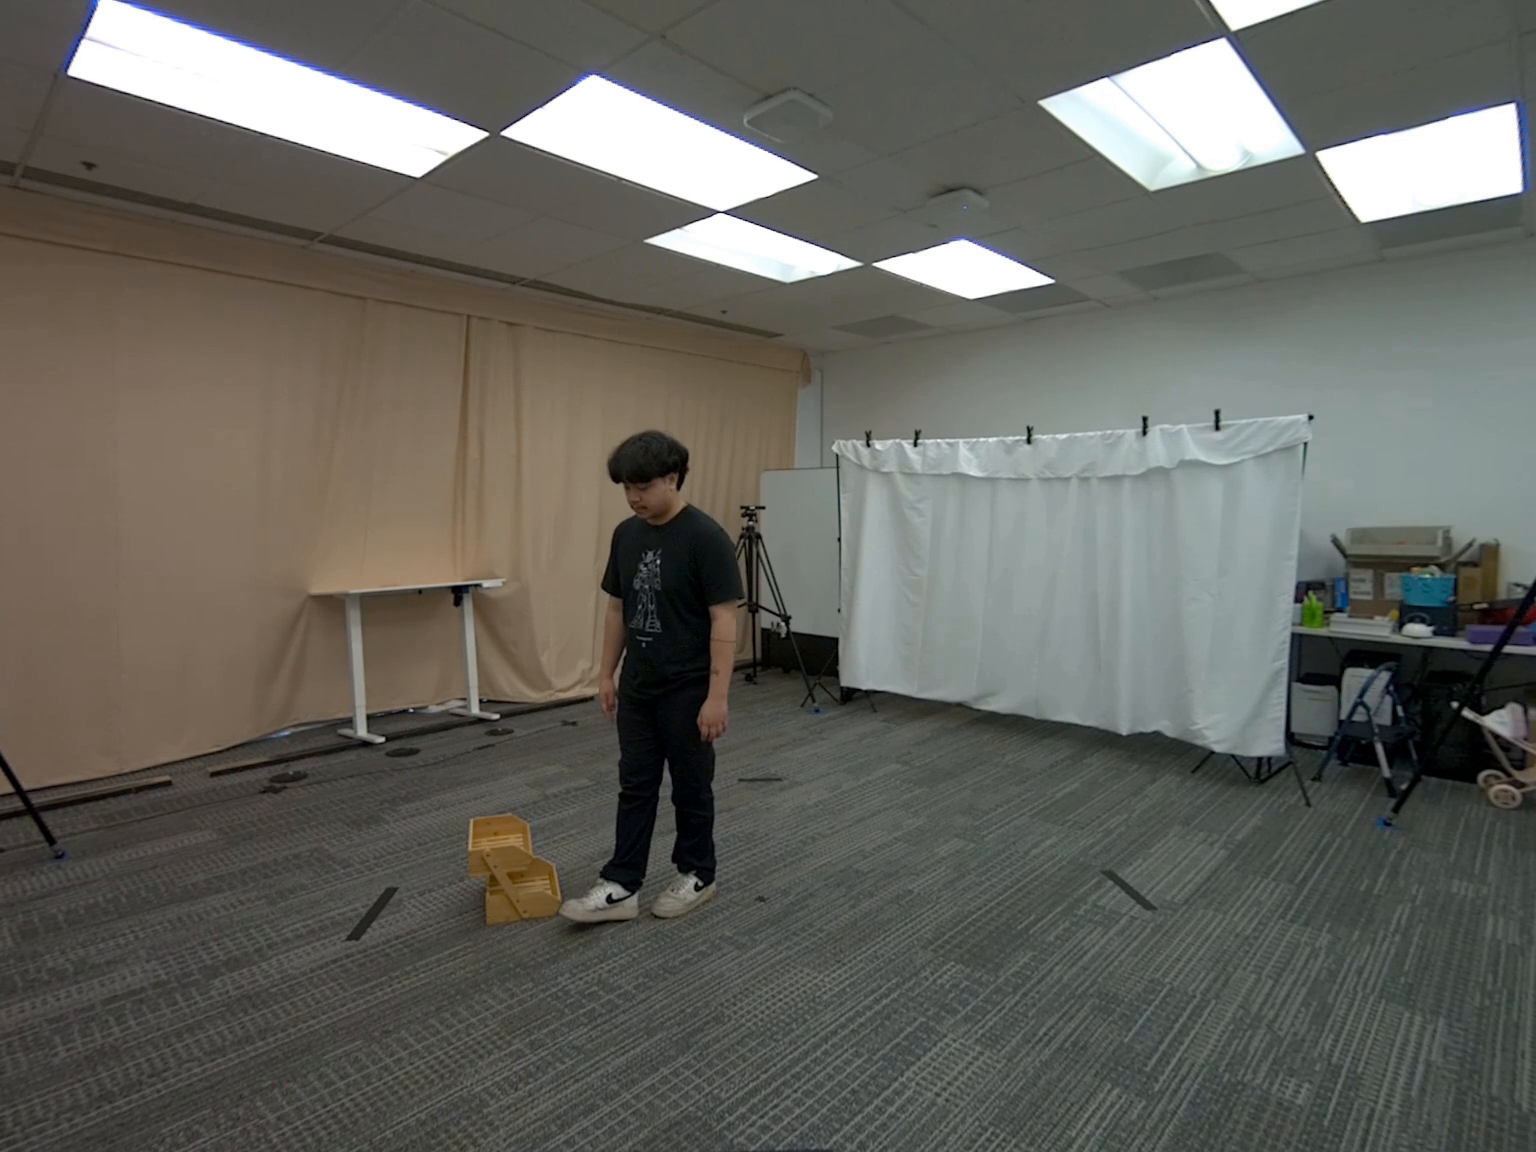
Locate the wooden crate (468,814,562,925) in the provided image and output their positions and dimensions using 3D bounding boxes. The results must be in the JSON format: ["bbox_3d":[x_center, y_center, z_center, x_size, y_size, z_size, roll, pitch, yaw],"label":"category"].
[{"bbox_3d":[-0.897,1.019,2.976,0.297,0.273,0.331,-3,4,-17],"label":"wooden crate"}]
